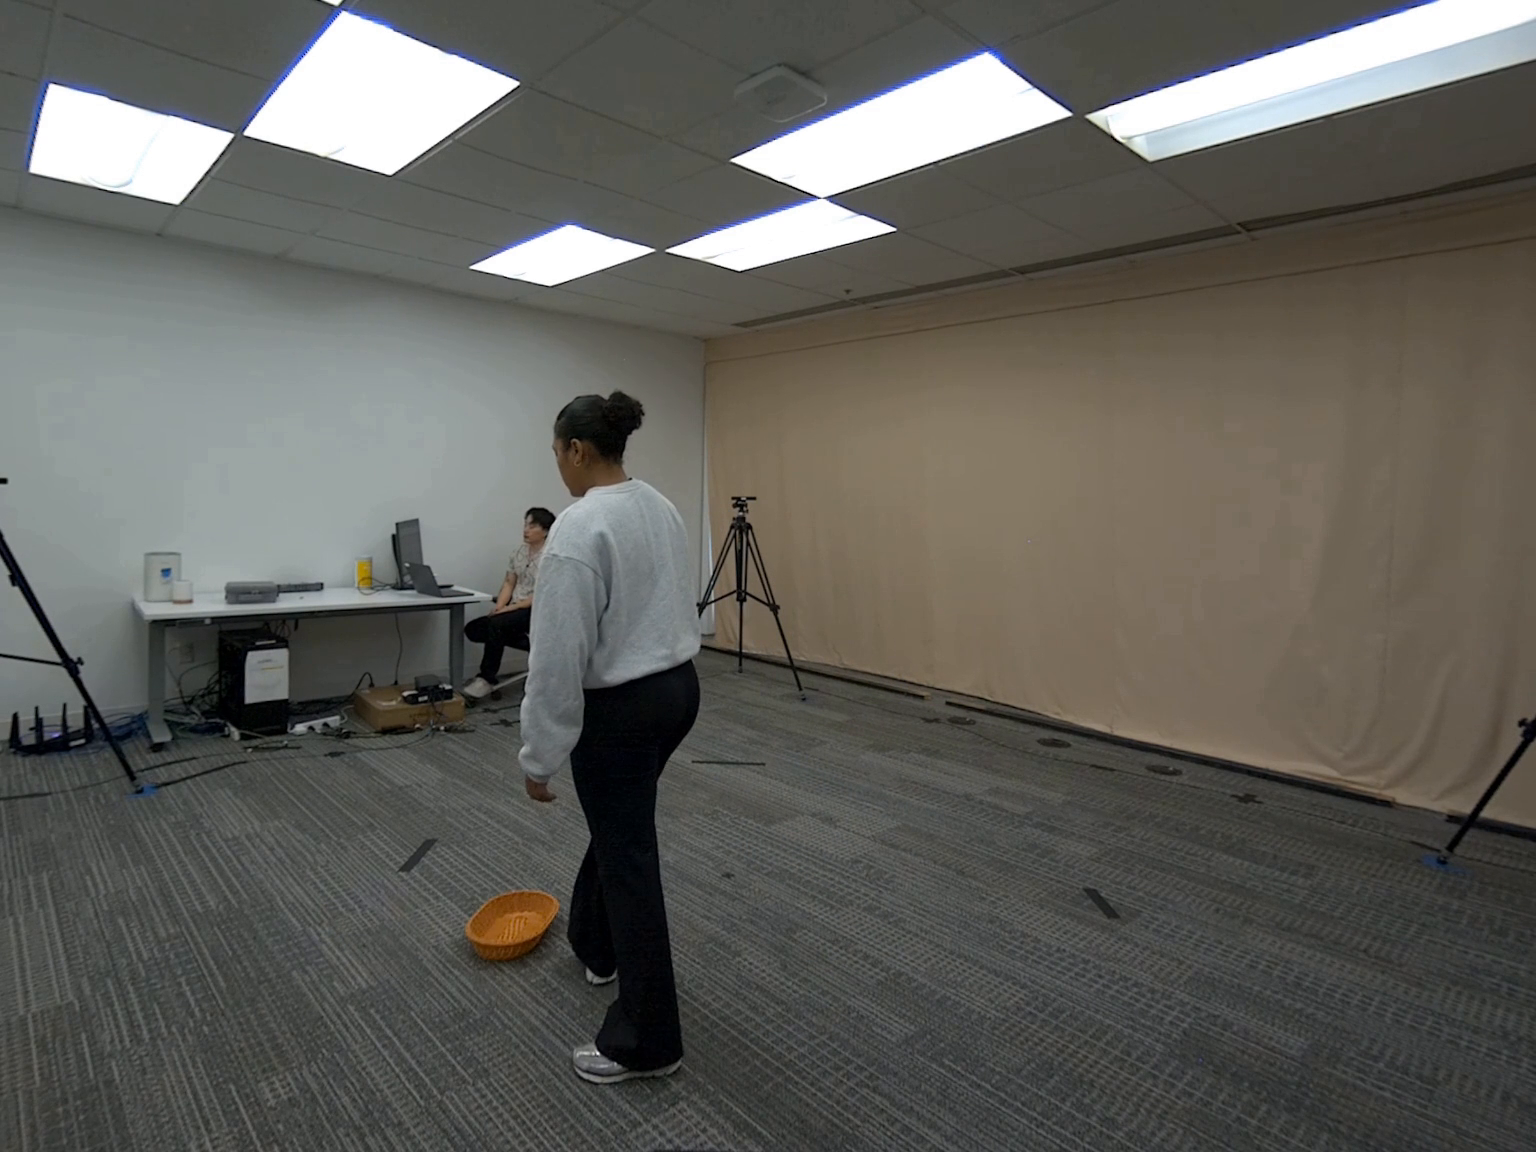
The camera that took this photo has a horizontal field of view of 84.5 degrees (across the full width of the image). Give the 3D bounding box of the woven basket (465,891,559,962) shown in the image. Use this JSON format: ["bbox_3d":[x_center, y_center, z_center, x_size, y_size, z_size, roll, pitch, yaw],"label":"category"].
[{"bbox_3d":[-0.789,1.094,2.629,0.254,0.073,0.348,2,4,8],"label":"woven basket"}]
